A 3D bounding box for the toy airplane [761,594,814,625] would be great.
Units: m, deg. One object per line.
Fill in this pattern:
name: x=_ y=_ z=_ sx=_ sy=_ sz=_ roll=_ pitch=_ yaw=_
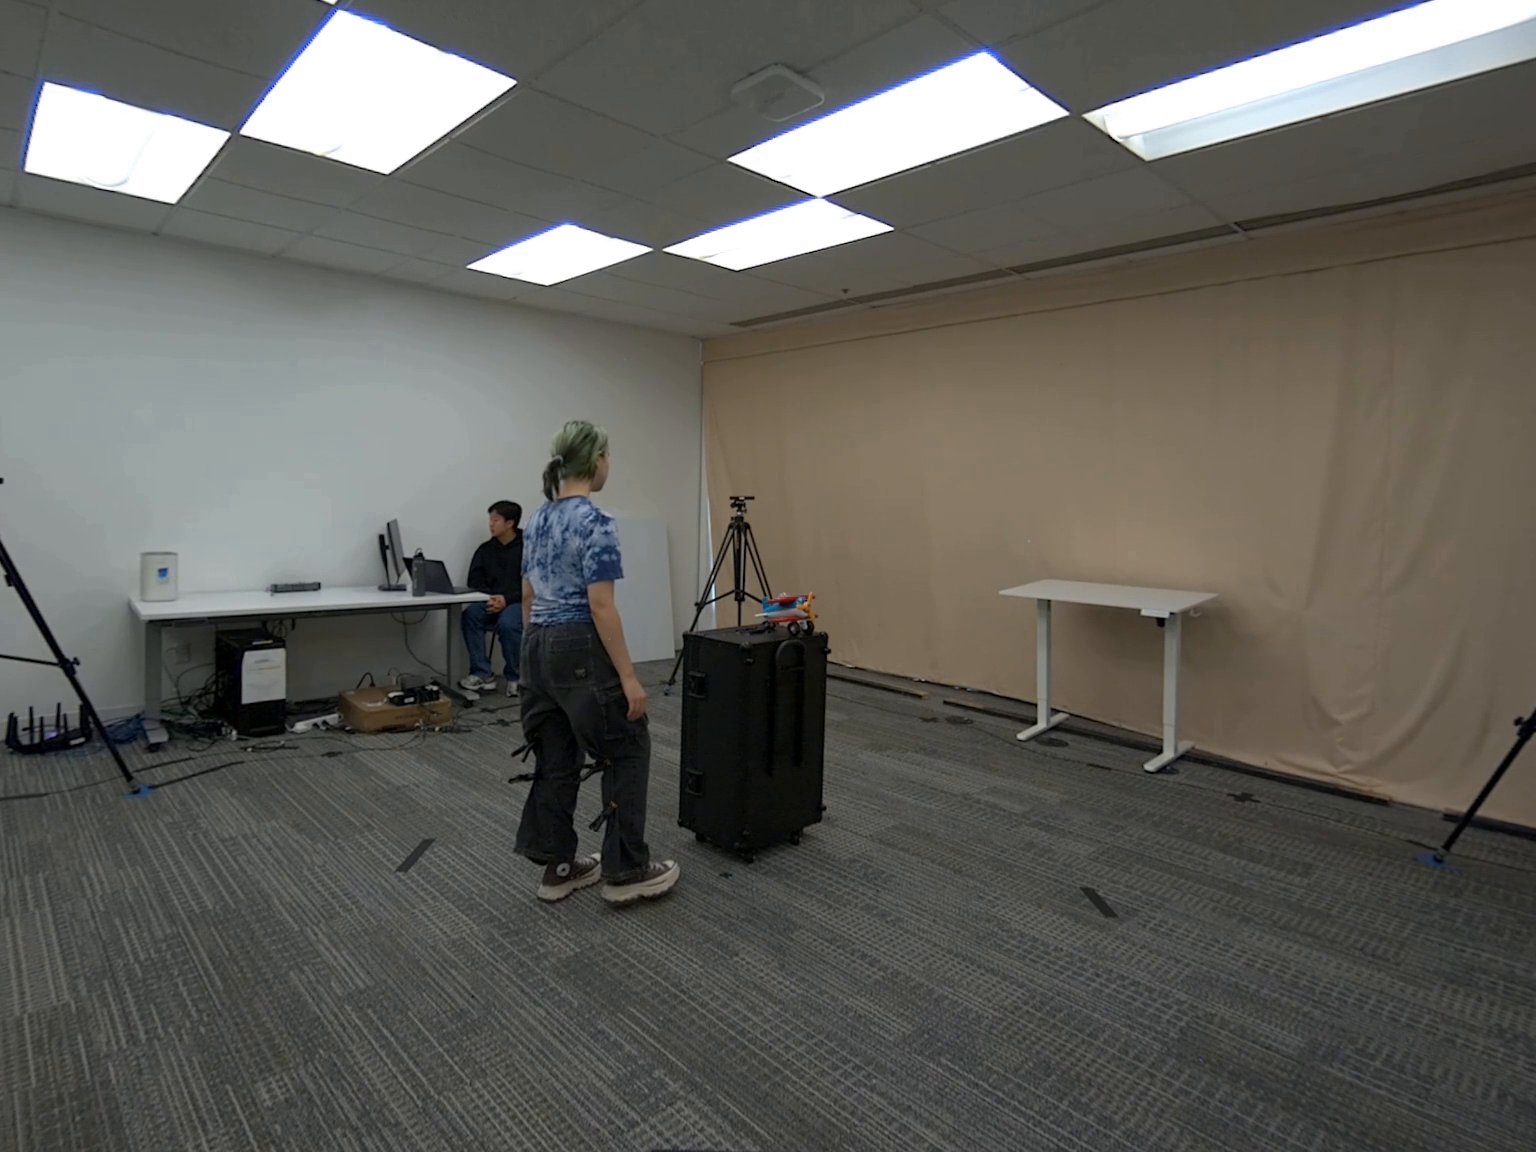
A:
toy airplane: x=0.046 y=0.155 z=3.440 sx=0.263 sy=0.156 sz=0.249 roll=3 pitch=7 yaw=16
